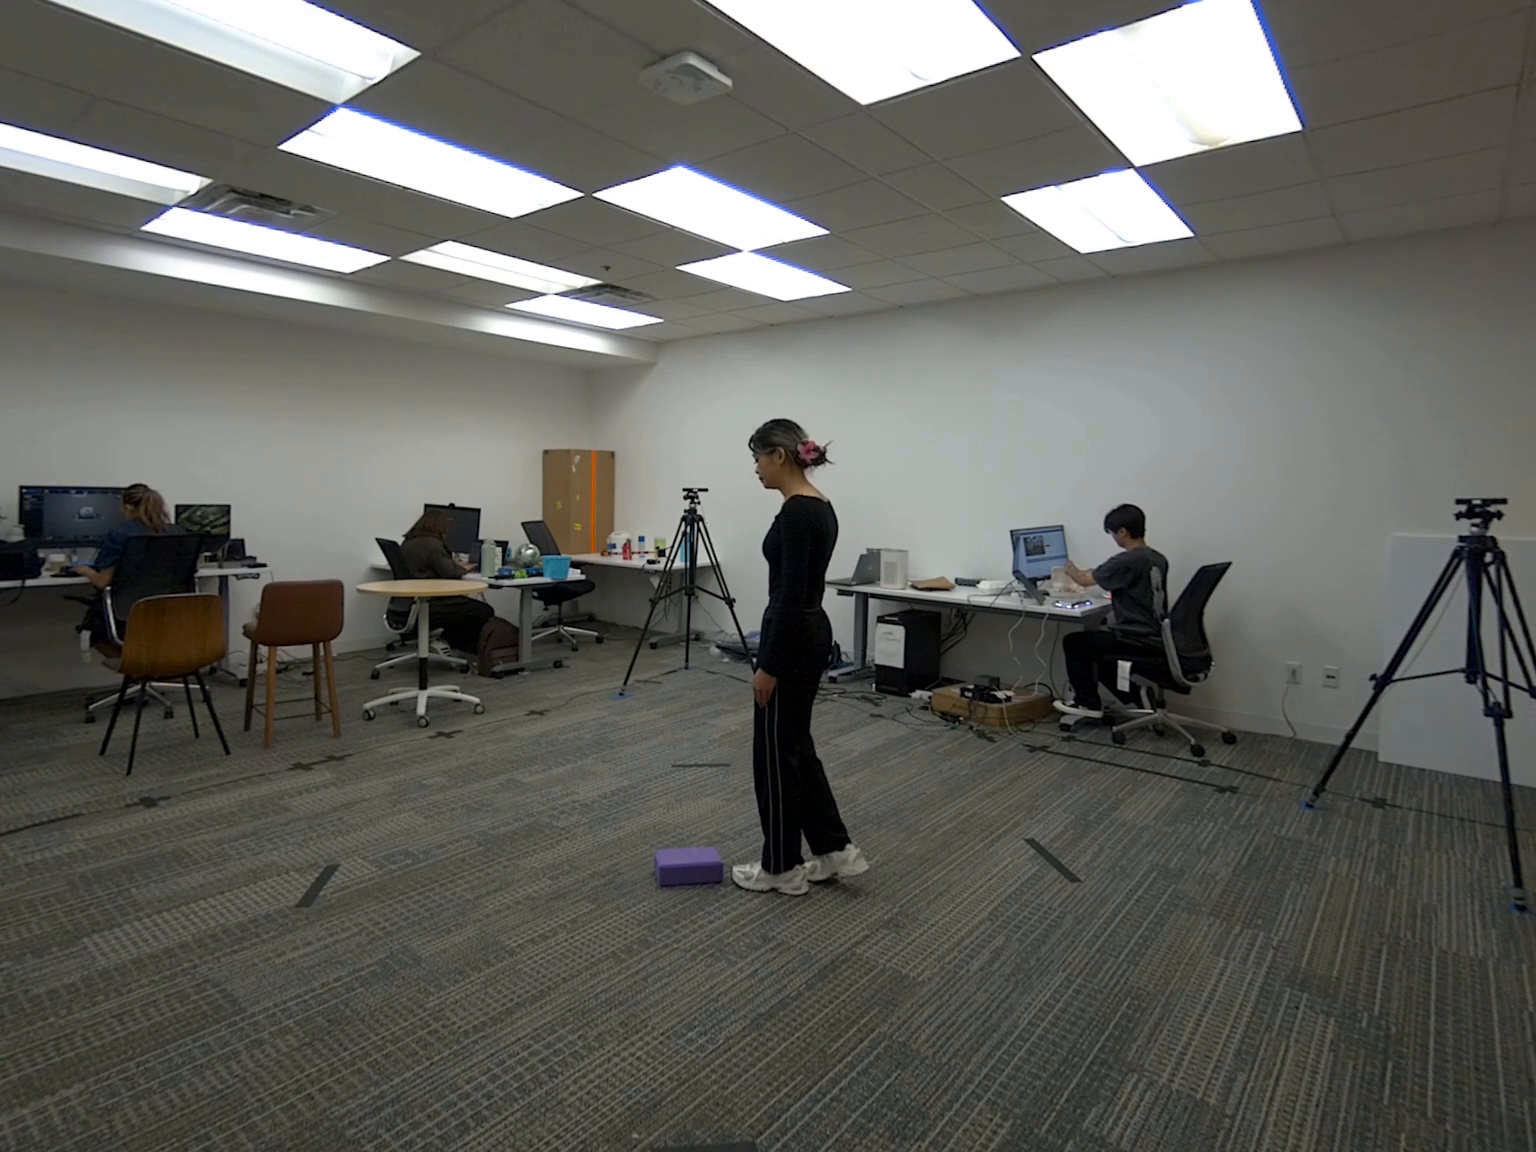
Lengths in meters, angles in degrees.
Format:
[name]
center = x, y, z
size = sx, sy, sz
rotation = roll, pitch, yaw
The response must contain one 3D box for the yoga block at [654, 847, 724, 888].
[yoga block]
center = -0.294, 1.035, 3.049
size = 0.226, 0.076, 0.151
rotation = 1, 3, -12
